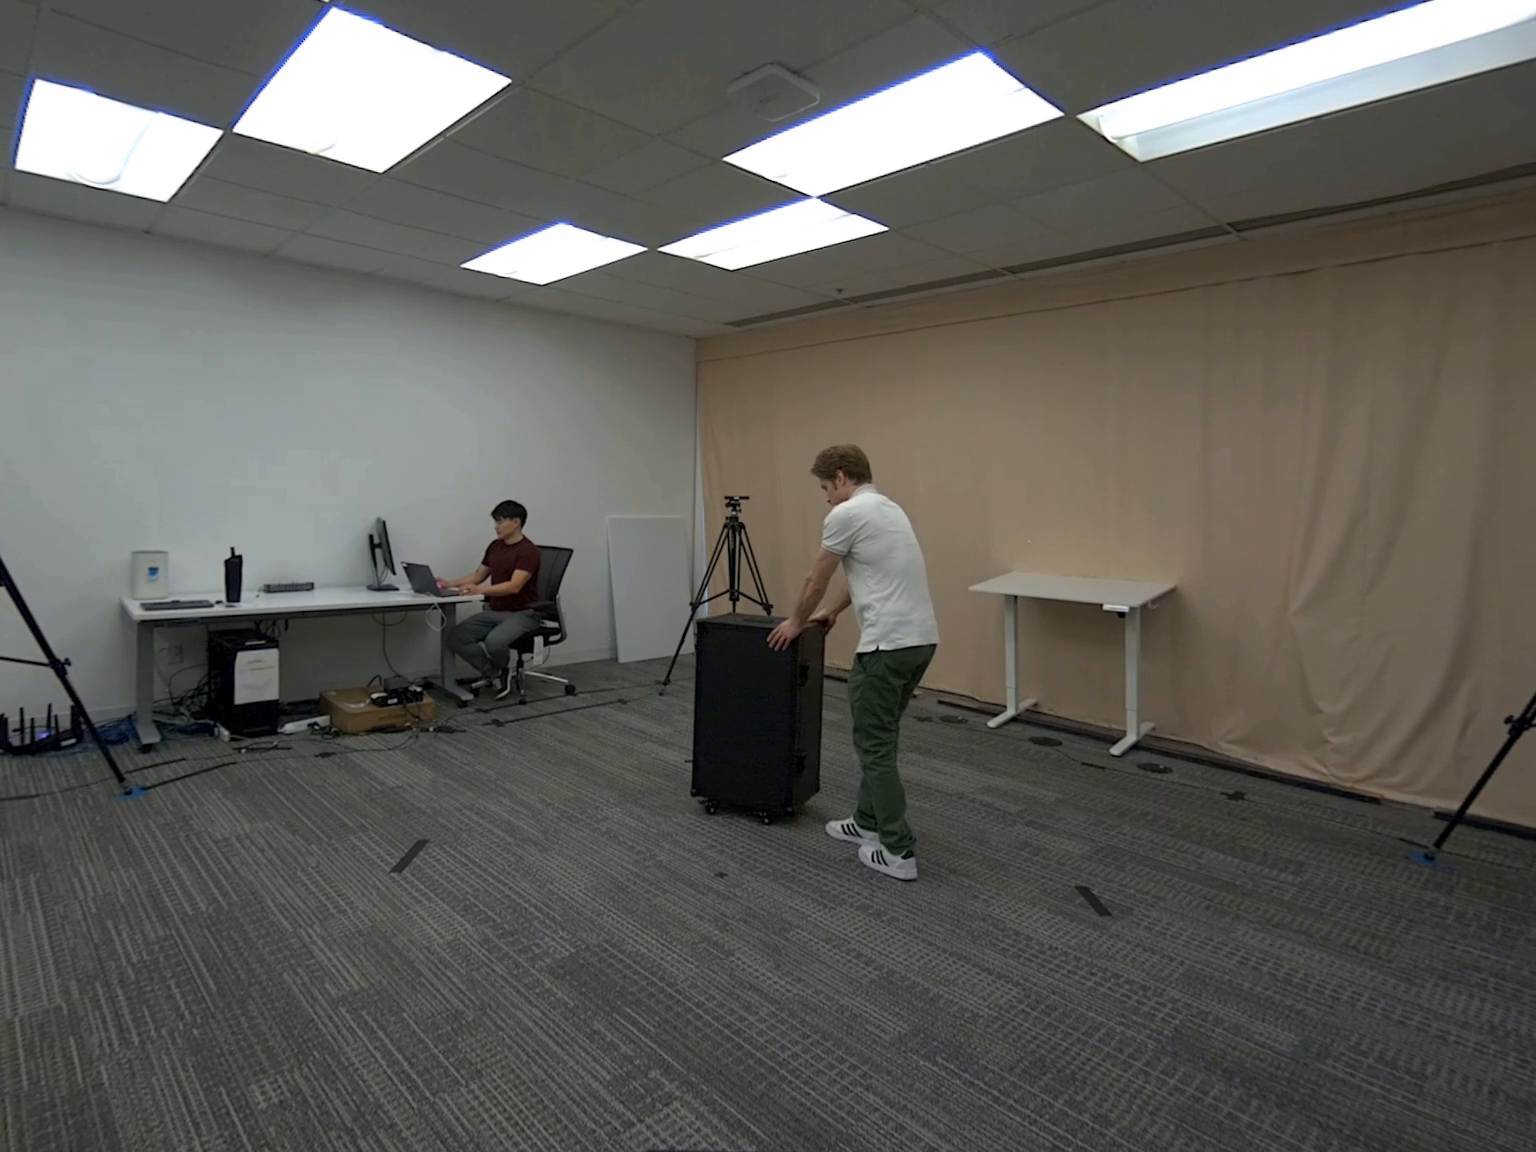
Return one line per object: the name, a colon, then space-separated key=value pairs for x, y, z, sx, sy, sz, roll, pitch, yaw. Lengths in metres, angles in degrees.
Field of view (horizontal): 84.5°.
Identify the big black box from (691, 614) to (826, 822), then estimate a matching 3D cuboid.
big black box: x=-0.050 y=0.622 z=3.777 sx=0.533 sy=0.867 sz=0.379 roll=4 pitch=3 yaw=24
